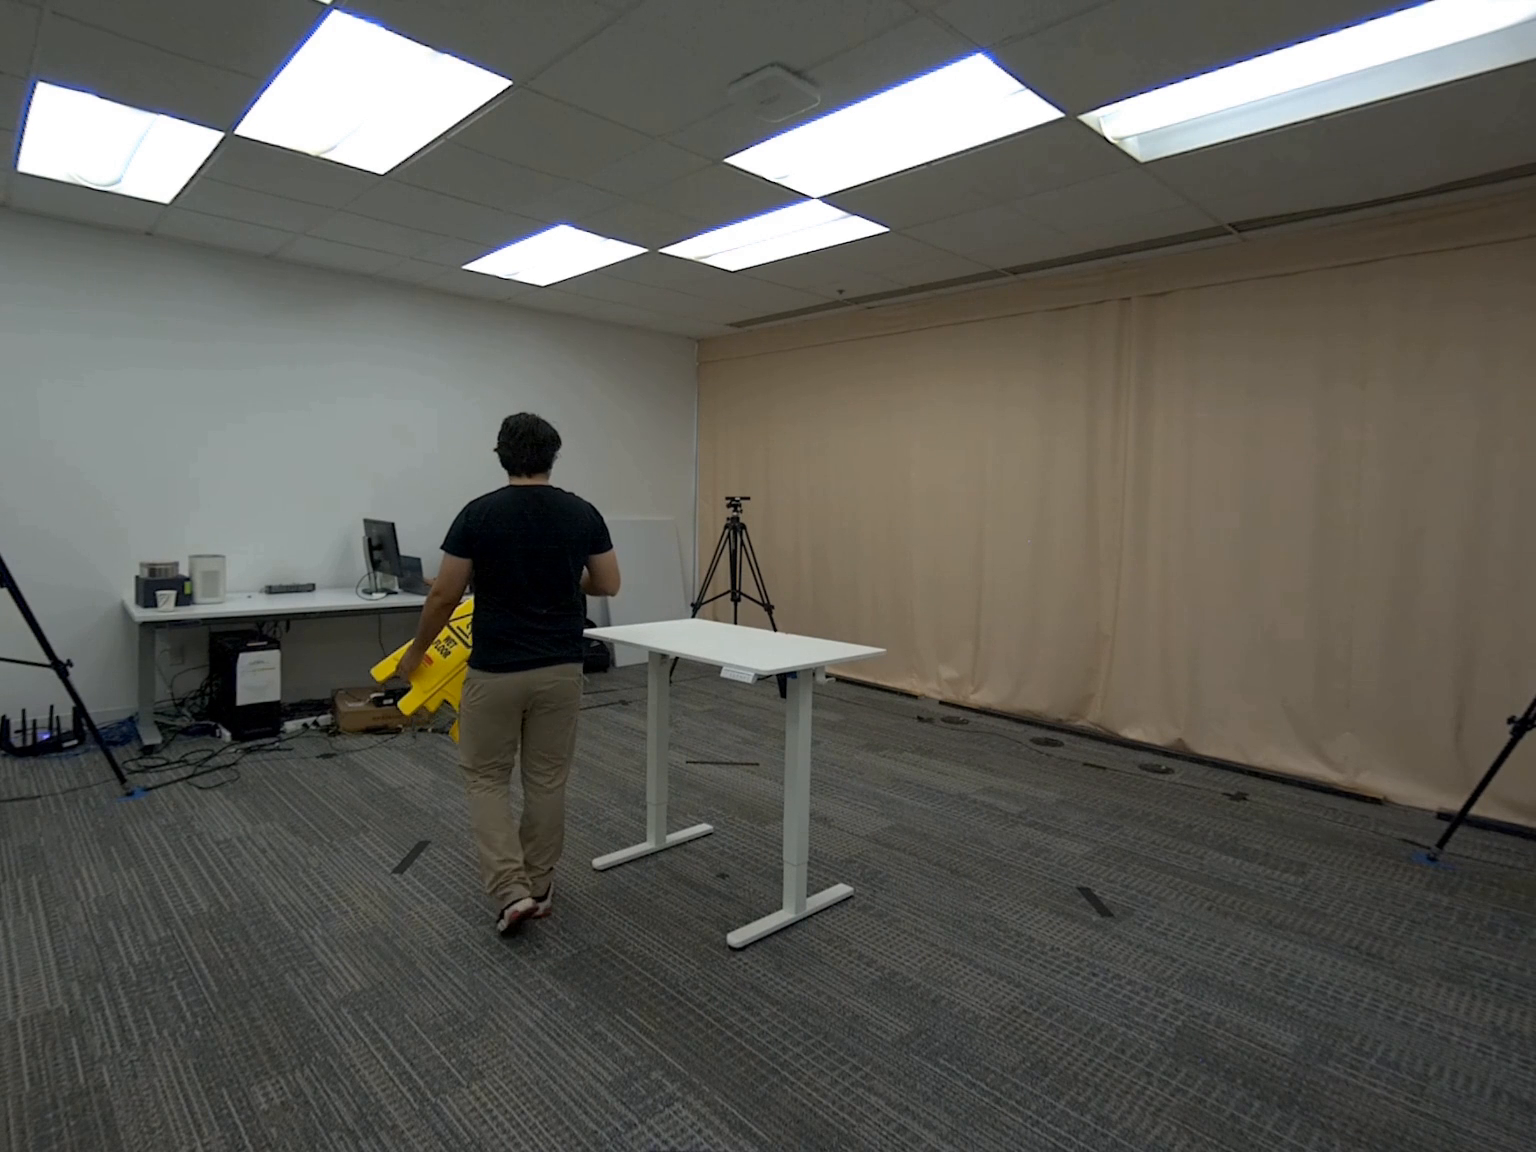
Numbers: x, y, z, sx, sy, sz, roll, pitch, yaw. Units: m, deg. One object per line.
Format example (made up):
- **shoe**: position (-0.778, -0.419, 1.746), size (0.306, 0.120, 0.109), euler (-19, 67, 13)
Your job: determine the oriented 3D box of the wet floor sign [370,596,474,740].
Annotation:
- **wet floor sign**: position (-1.011, 0.224, 2.956), size (0.291, 0.646, 0.281), euler (33, -14, 35)
